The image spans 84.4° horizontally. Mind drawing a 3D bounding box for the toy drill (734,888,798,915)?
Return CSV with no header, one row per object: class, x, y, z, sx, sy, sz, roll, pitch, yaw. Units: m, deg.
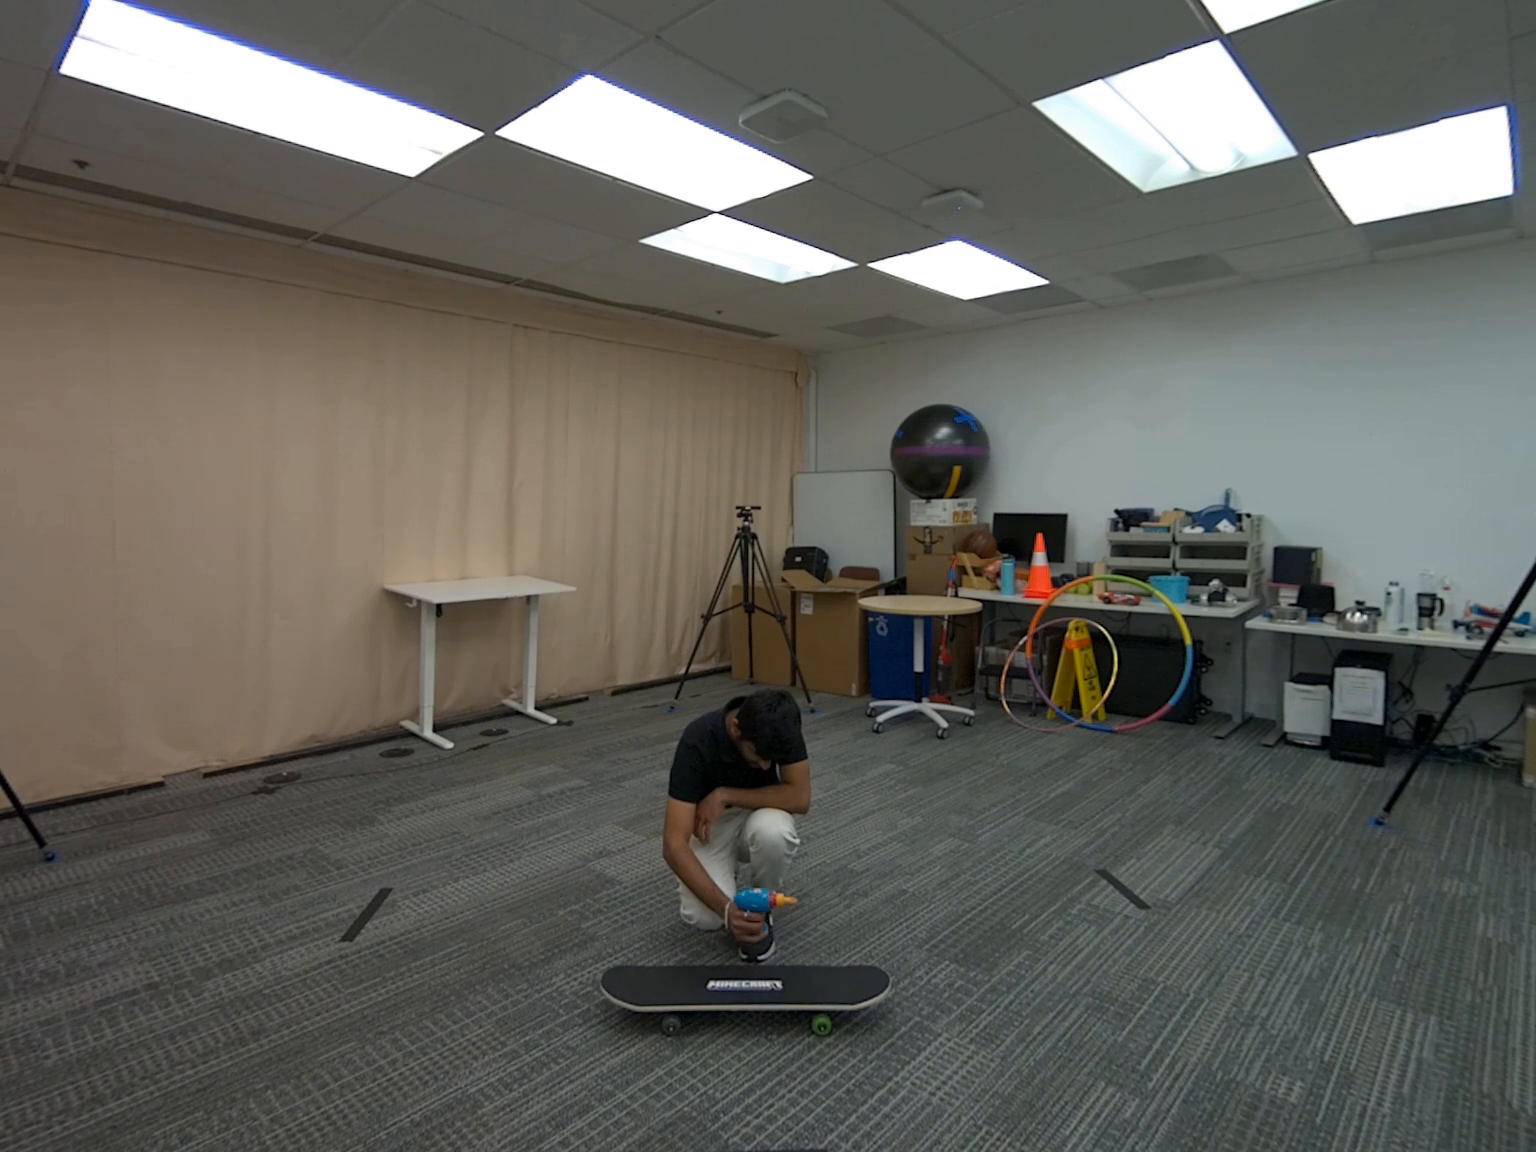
toy drill,0.005,0.904,2.253,0.171,0.144,0.061,-4,21,6
